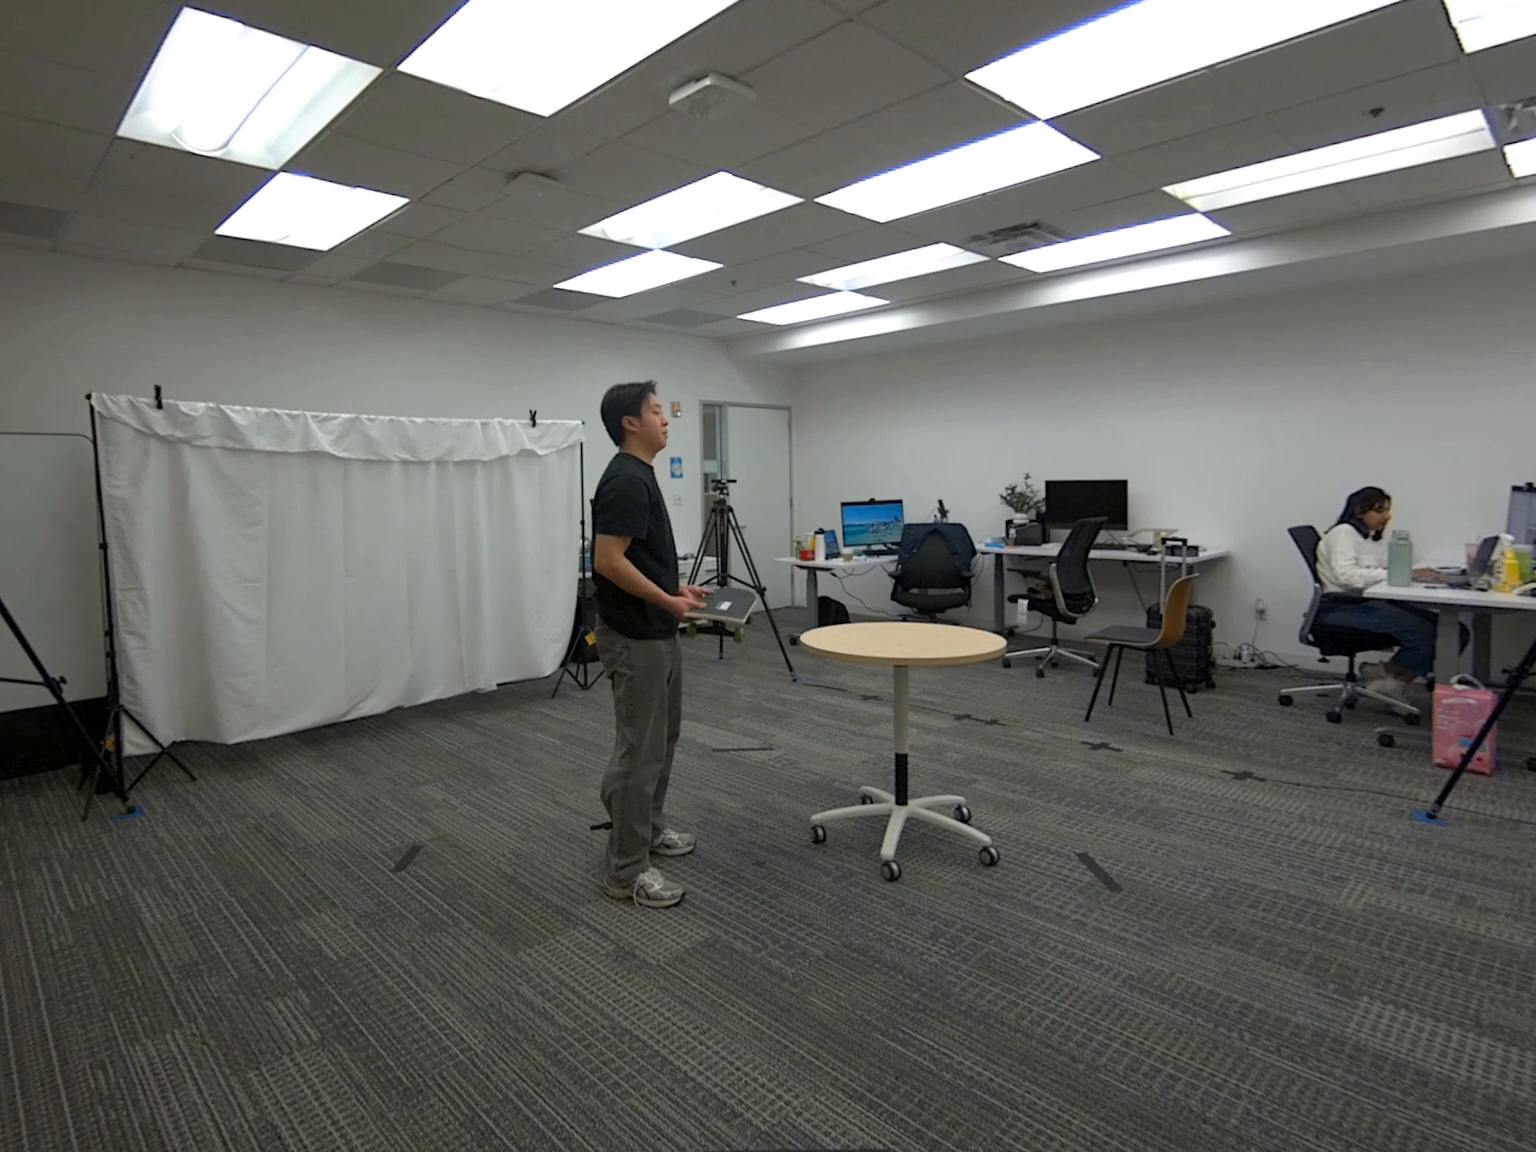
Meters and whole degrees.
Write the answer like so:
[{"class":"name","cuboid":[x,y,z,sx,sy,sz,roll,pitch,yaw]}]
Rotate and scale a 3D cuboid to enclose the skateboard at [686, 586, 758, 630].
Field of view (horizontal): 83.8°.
[{"class":"skateboard","cuboid":[-0.162,0.150,2.990,0.194,0.110,0.783,6,5,4]}]
